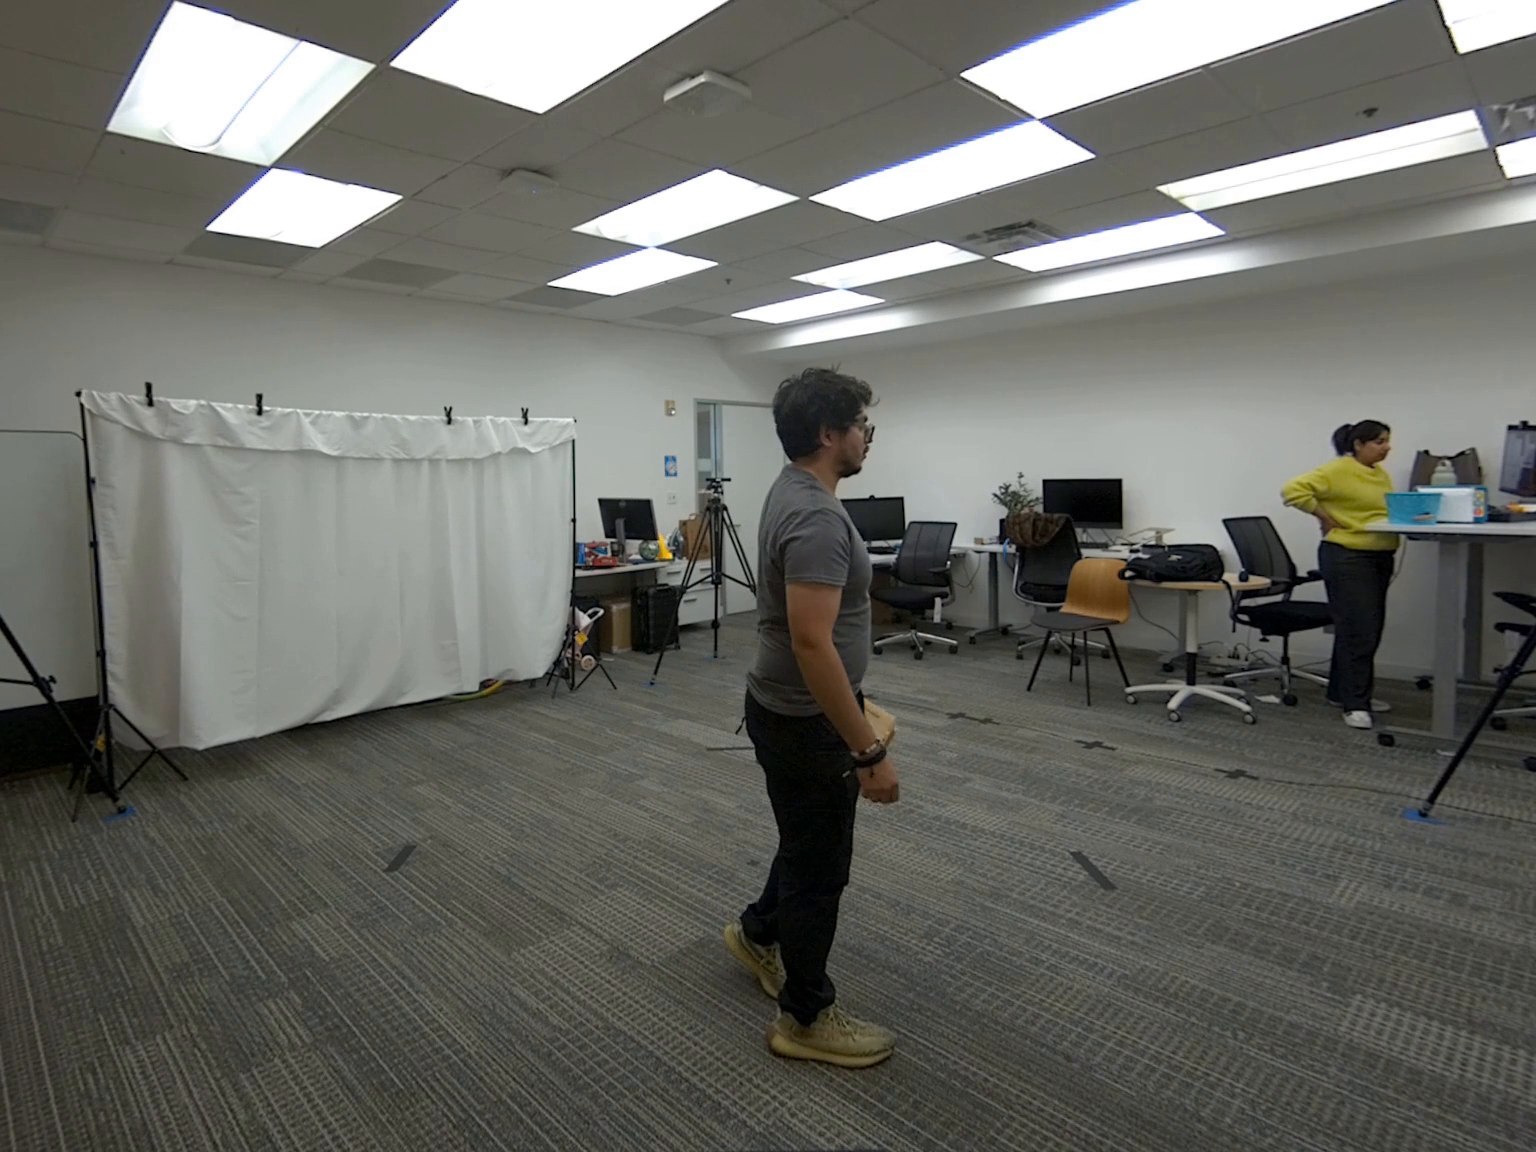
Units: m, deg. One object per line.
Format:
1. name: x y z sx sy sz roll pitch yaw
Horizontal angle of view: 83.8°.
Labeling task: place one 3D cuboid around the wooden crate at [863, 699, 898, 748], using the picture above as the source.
1. wooden crate: 0.178 0.491 2.541 0.331 0.274 0.295 30 -25 14
